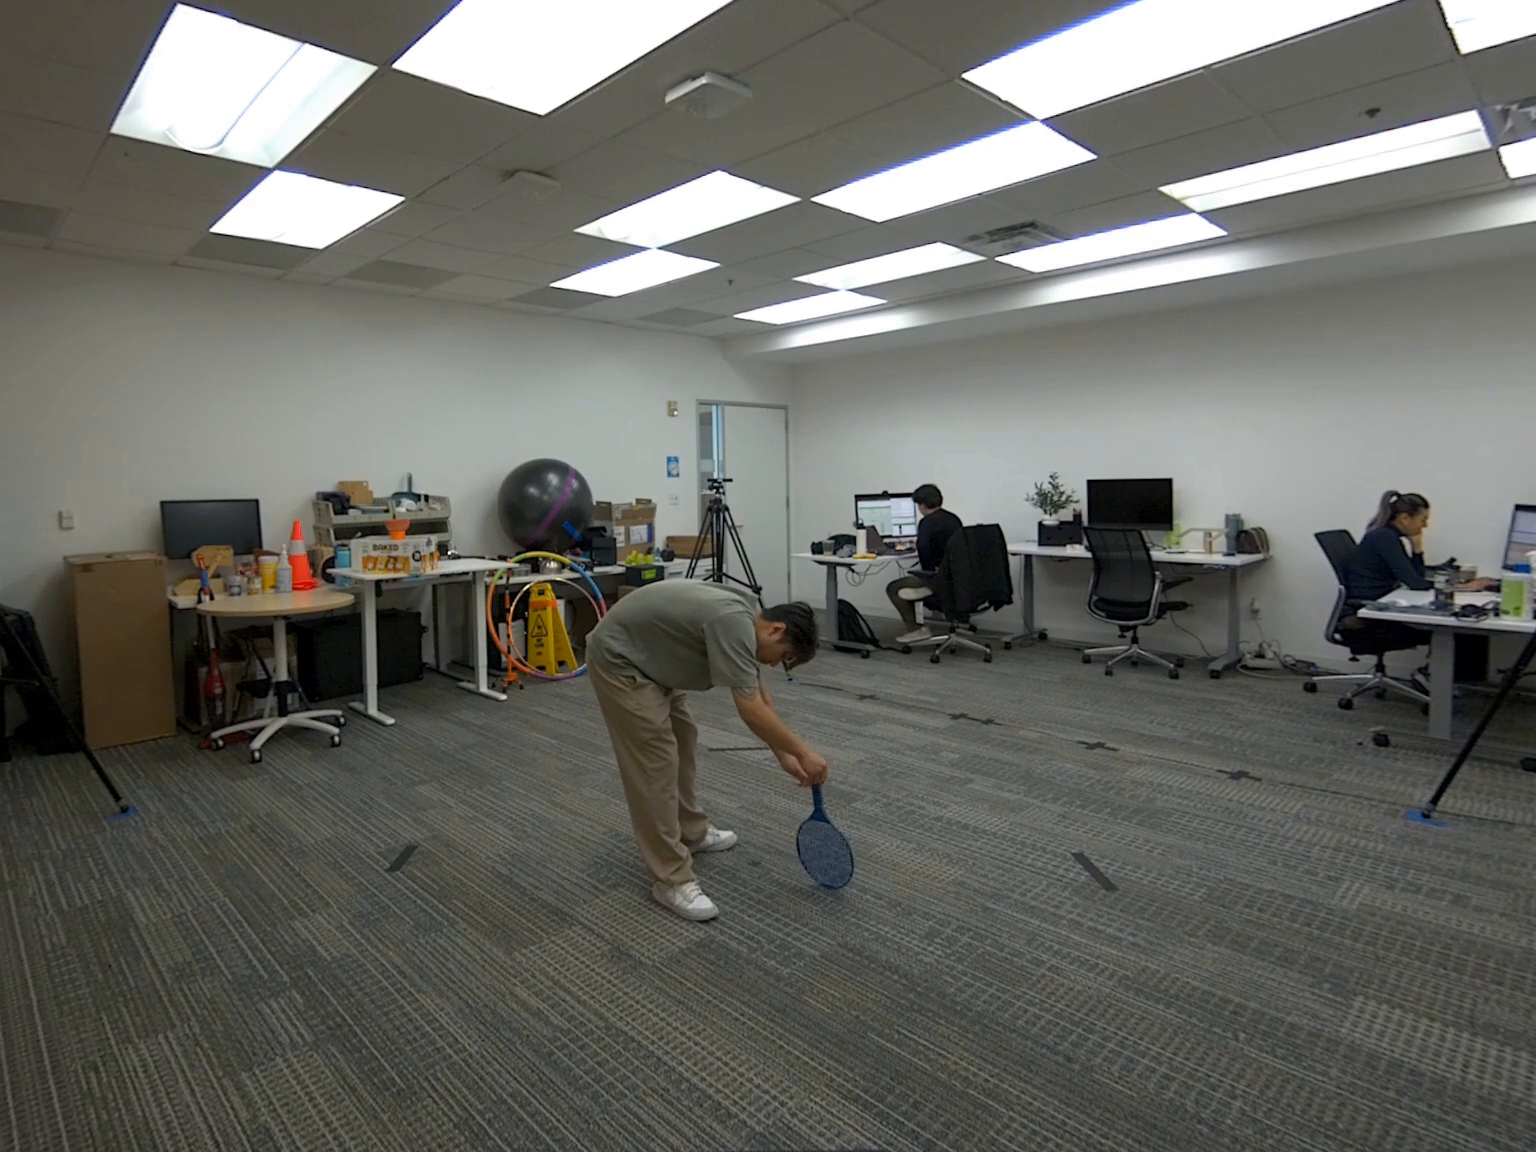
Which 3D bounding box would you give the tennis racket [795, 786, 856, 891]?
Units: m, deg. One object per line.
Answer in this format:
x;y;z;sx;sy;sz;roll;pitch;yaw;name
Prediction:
0.174;0.854;2.868;0.220;0.427;0.031;1;15;34;tennis racket
